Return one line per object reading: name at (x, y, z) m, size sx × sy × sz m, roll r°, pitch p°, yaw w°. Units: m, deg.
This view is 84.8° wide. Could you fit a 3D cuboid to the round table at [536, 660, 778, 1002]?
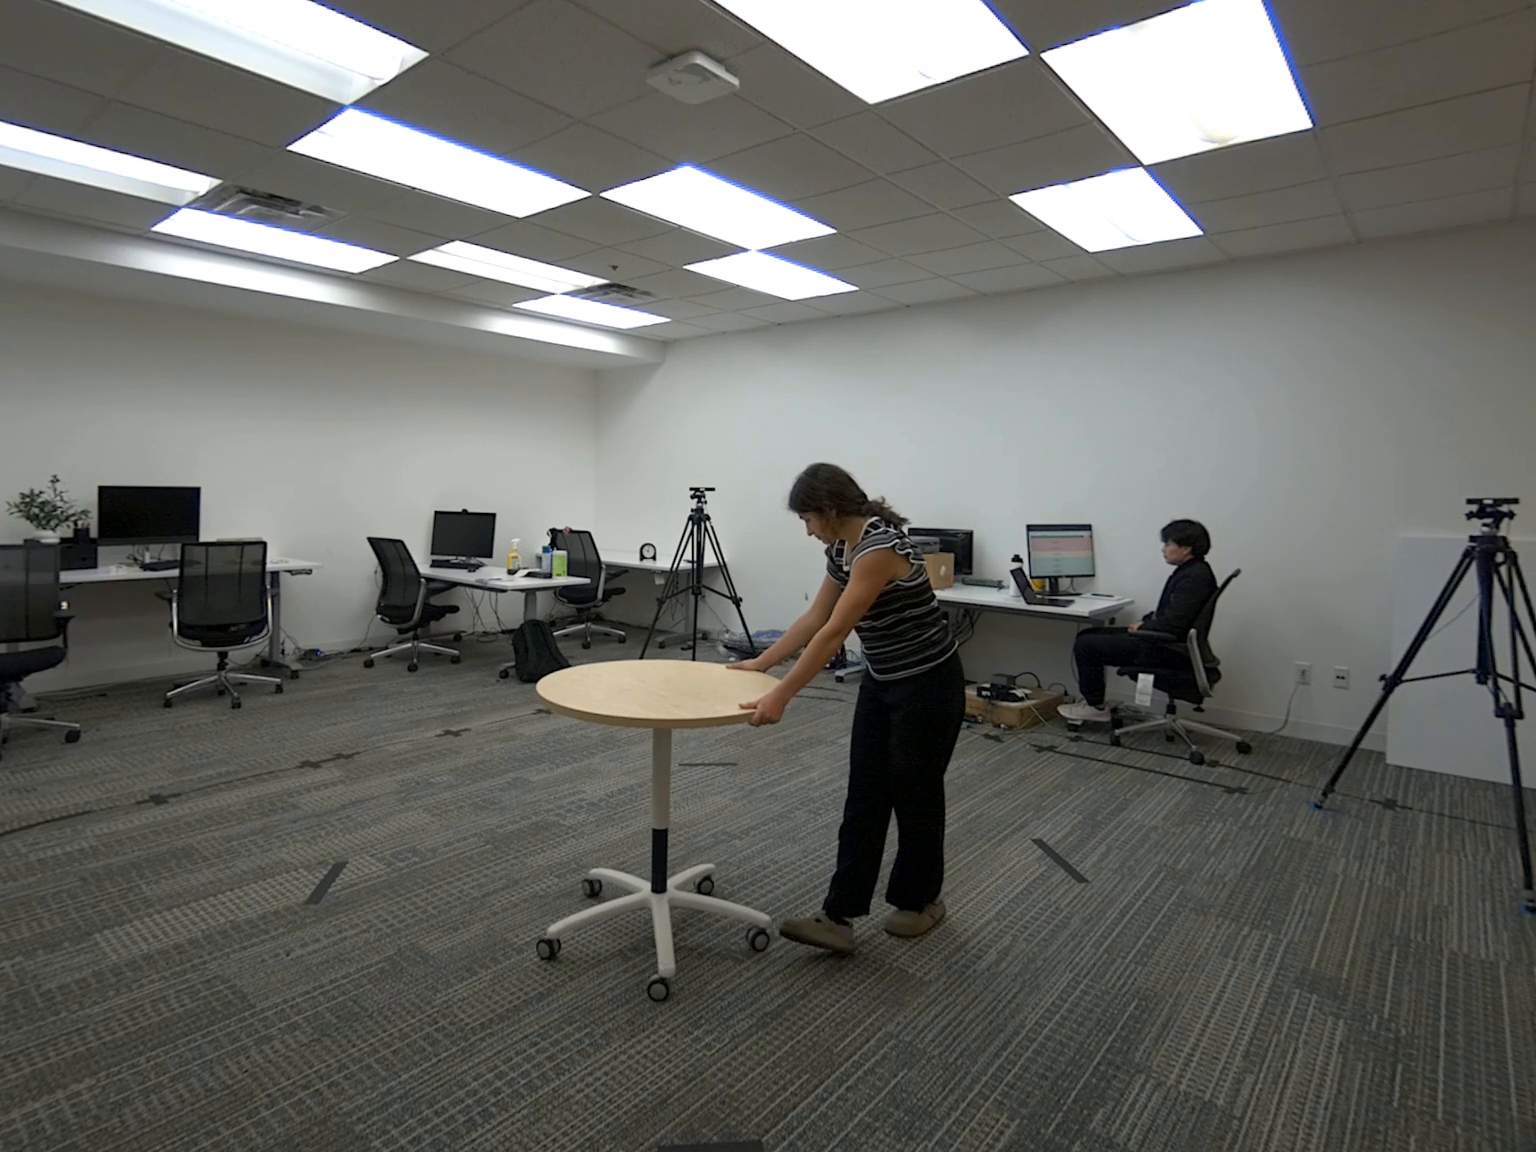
round table at (-0.351, 0.726, 2.627) m, size 0.763 × 0.791 × 0.768 m, roll 2°, pitch 4°, yaw -2°
